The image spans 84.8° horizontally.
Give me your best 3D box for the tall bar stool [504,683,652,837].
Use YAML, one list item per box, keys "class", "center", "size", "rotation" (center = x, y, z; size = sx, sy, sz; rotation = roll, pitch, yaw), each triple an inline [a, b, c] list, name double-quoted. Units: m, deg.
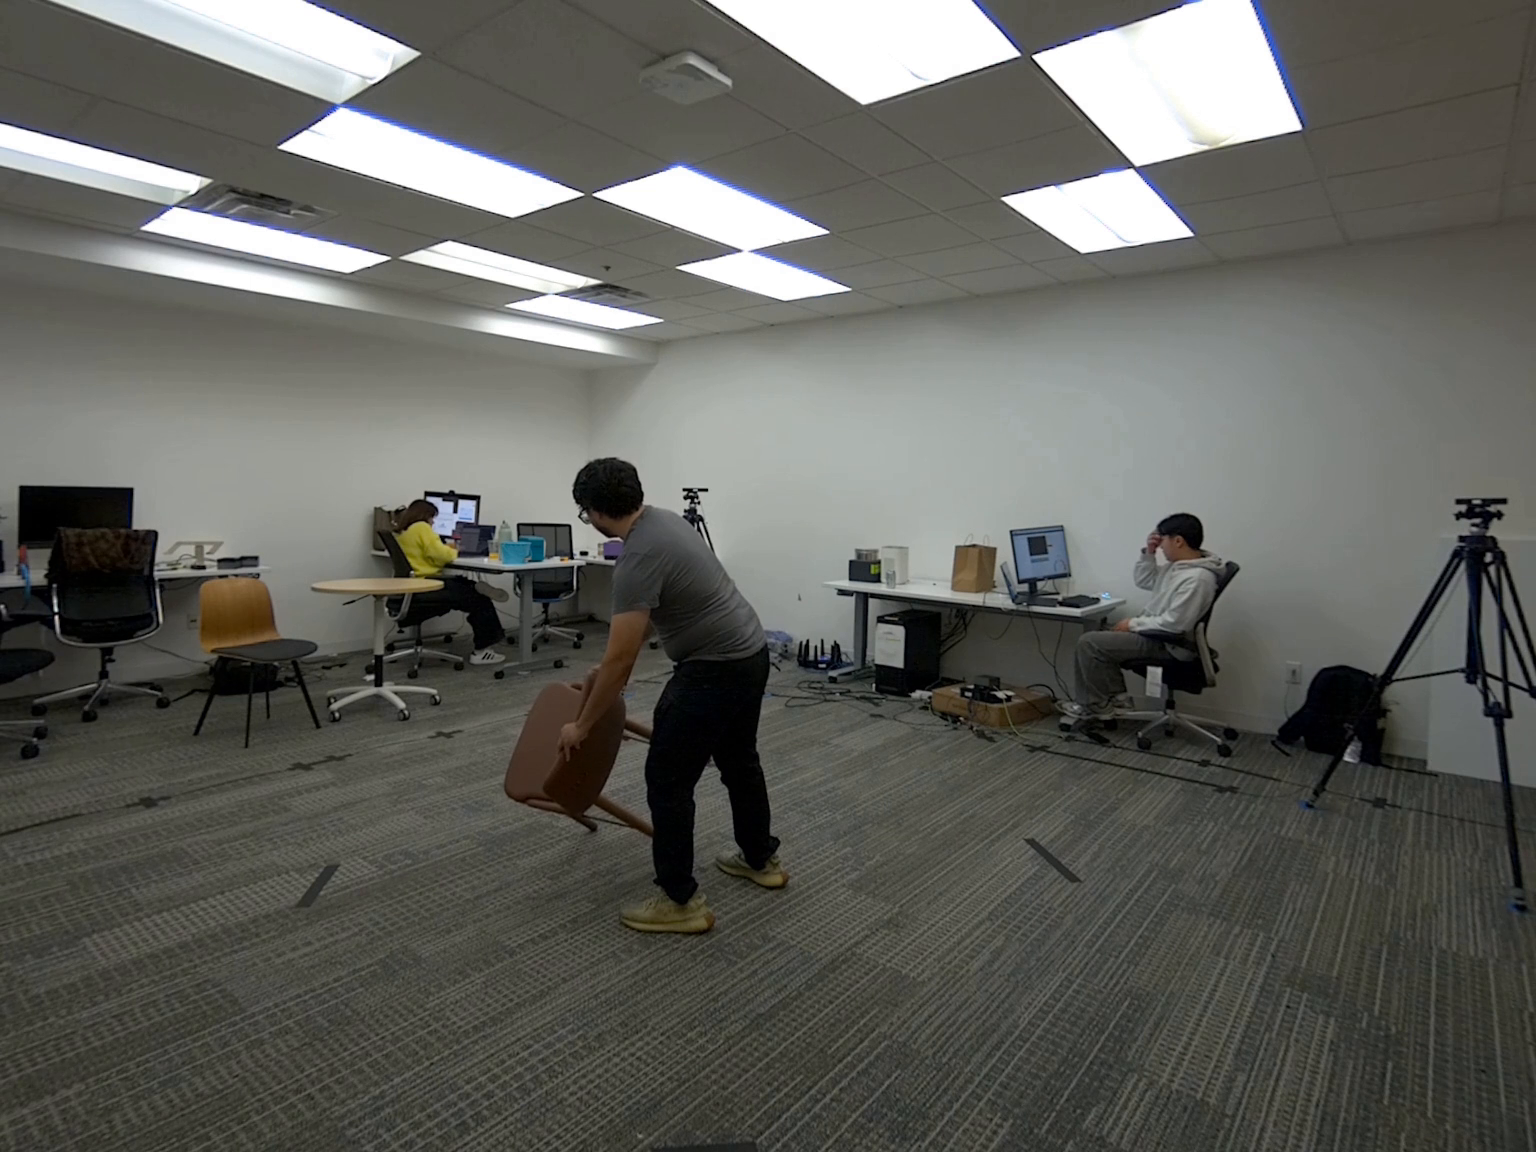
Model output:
- class: "tall bar stool"
  center: [-0.647, 0.663, 3.088]
  size: [0.482, 0.462, 0.853]
  rotation: [6, -26, 30]
